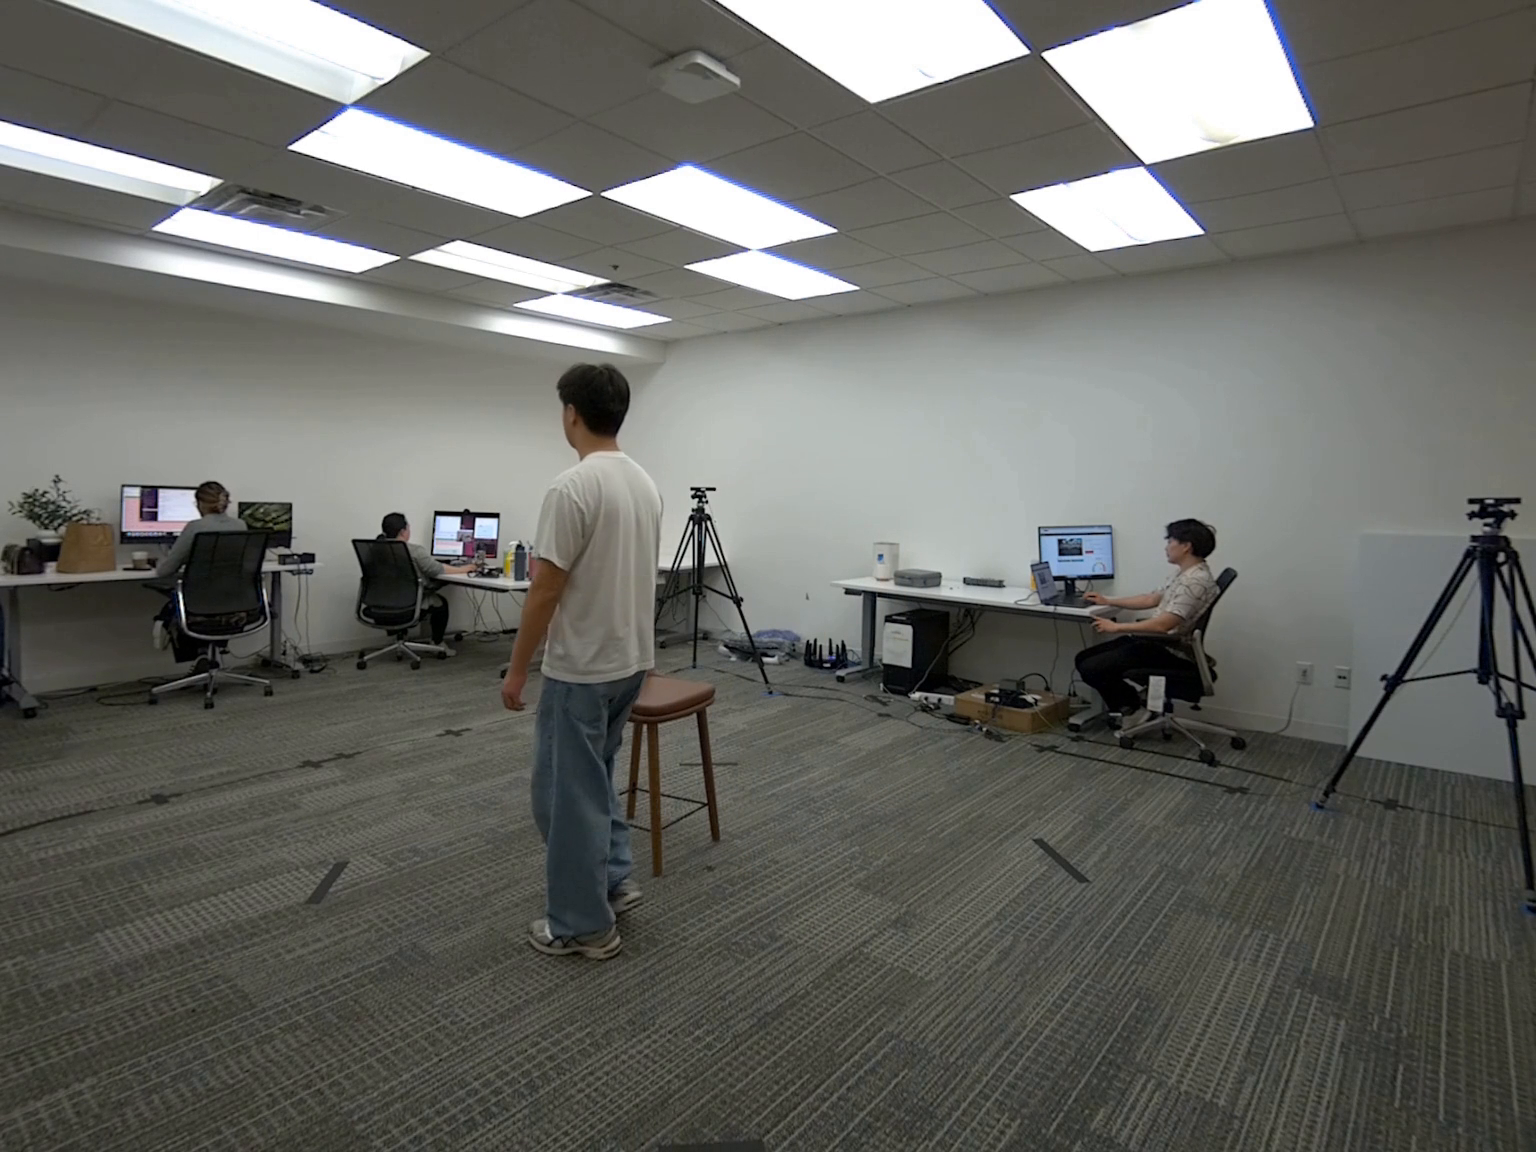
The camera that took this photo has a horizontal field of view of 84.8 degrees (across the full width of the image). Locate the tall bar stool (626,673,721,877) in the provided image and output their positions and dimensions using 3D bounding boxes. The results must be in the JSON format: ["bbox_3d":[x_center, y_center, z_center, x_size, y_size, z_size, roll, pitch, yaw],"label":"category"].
[{"bbox_3d":[-0.488,0.607,3.306,0.481,0.889,0.444,0,2,32],"label":"tall bar stool"}]
